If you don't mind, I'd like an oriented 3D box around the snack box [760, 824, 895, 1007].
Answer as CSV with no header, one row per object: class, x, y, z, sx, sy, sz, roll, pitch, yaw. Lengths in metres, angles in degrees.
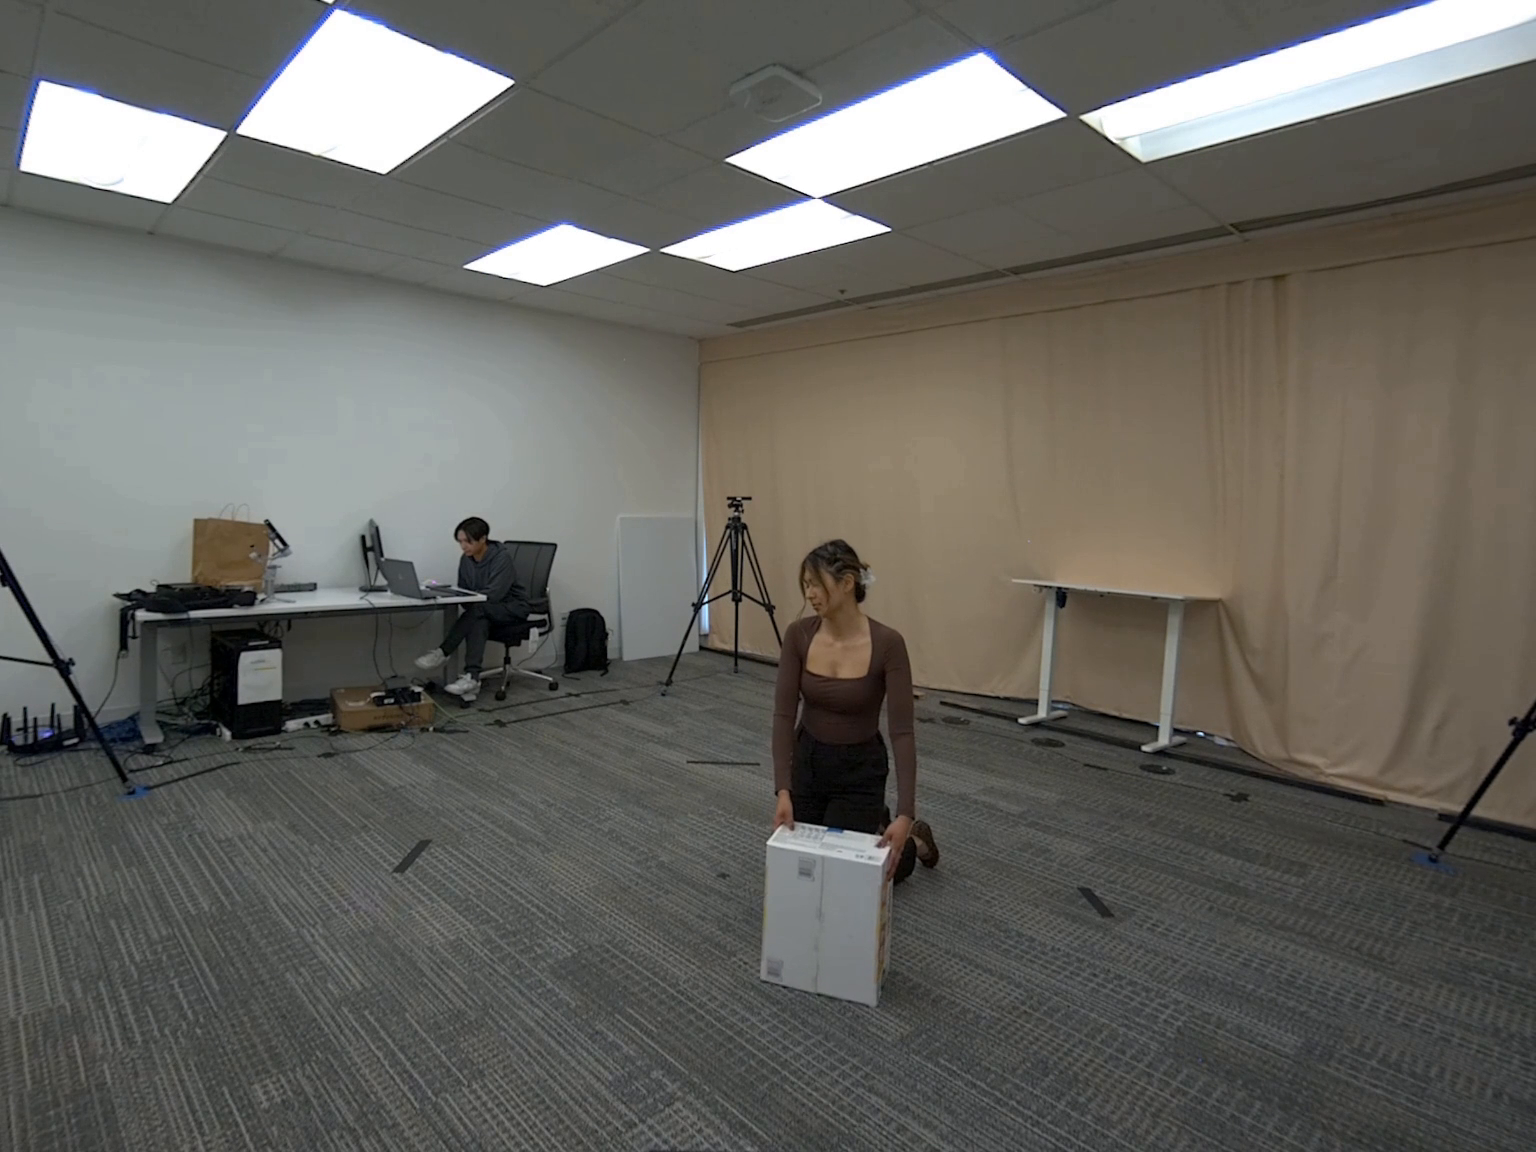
snack box,0.171,0.970,2.458,0.346,0.404,0.203,3,4,20
